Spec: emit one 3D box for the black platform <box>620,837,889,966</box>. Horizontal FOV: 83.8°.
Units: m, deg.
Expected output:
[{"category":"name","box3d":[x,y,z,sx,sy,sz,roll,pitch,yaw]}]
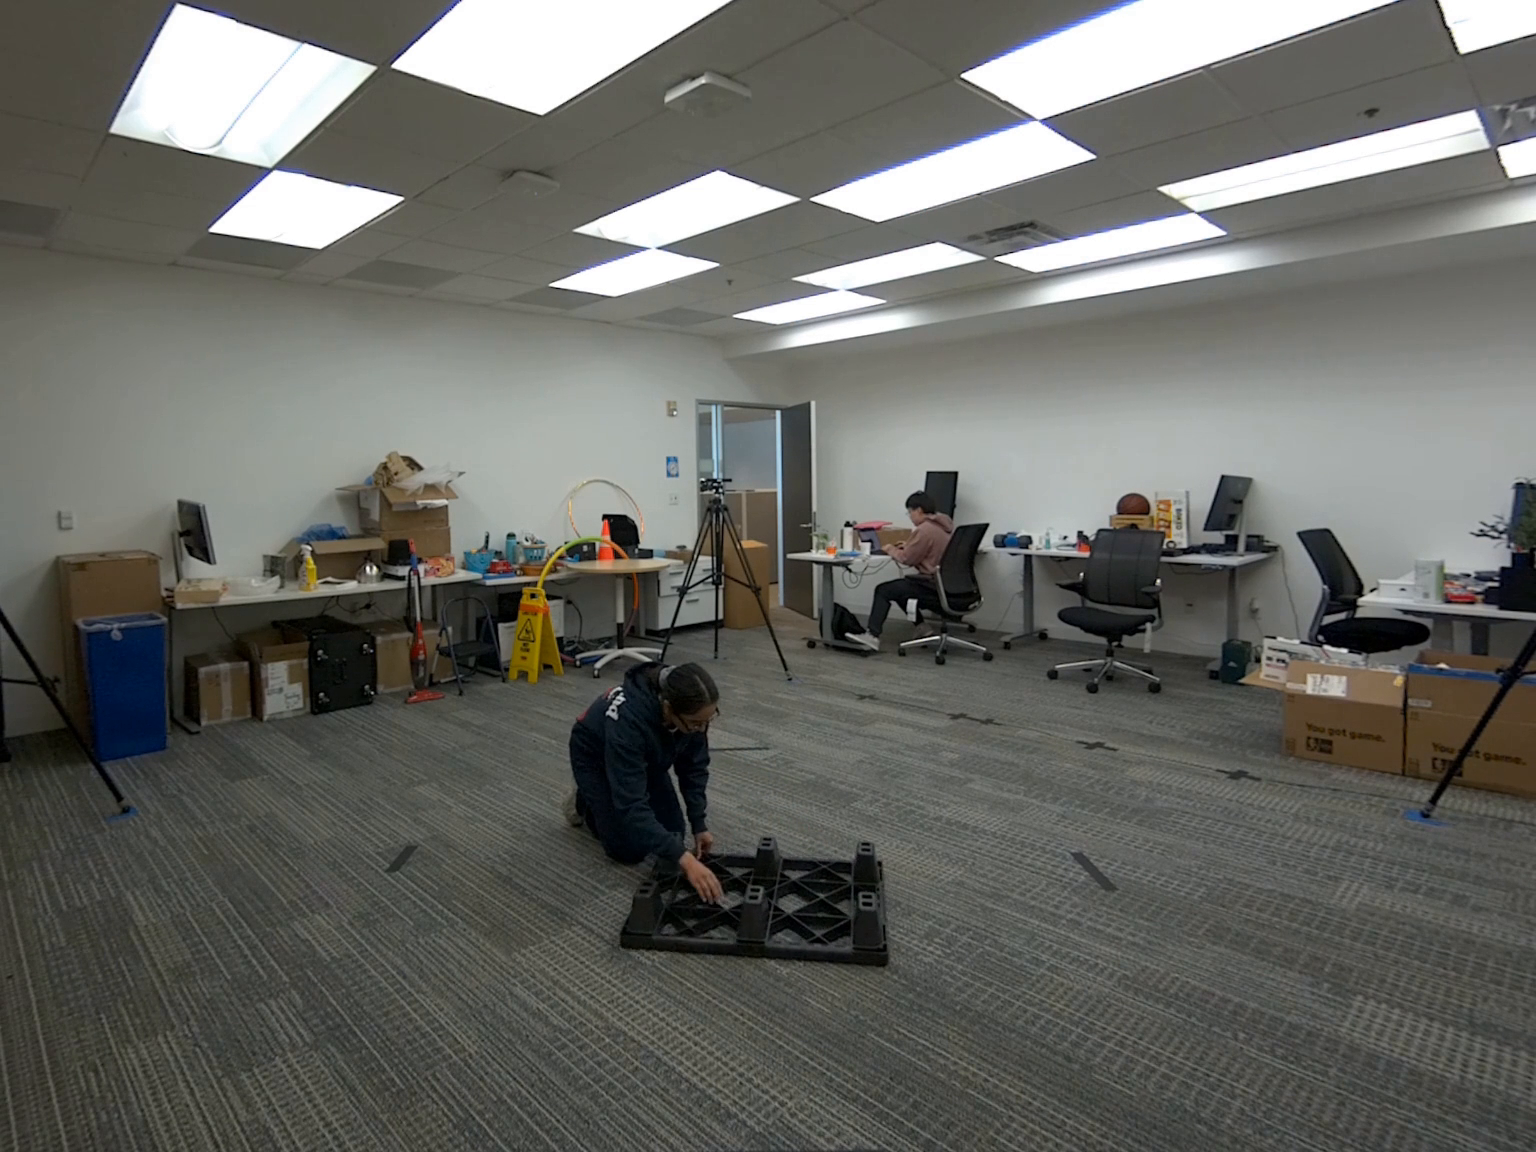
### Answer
[{"category":"black platform","box3d":[-0.023,1.014,2.778,0.813,0.143,0.602,0,6,8]}]
